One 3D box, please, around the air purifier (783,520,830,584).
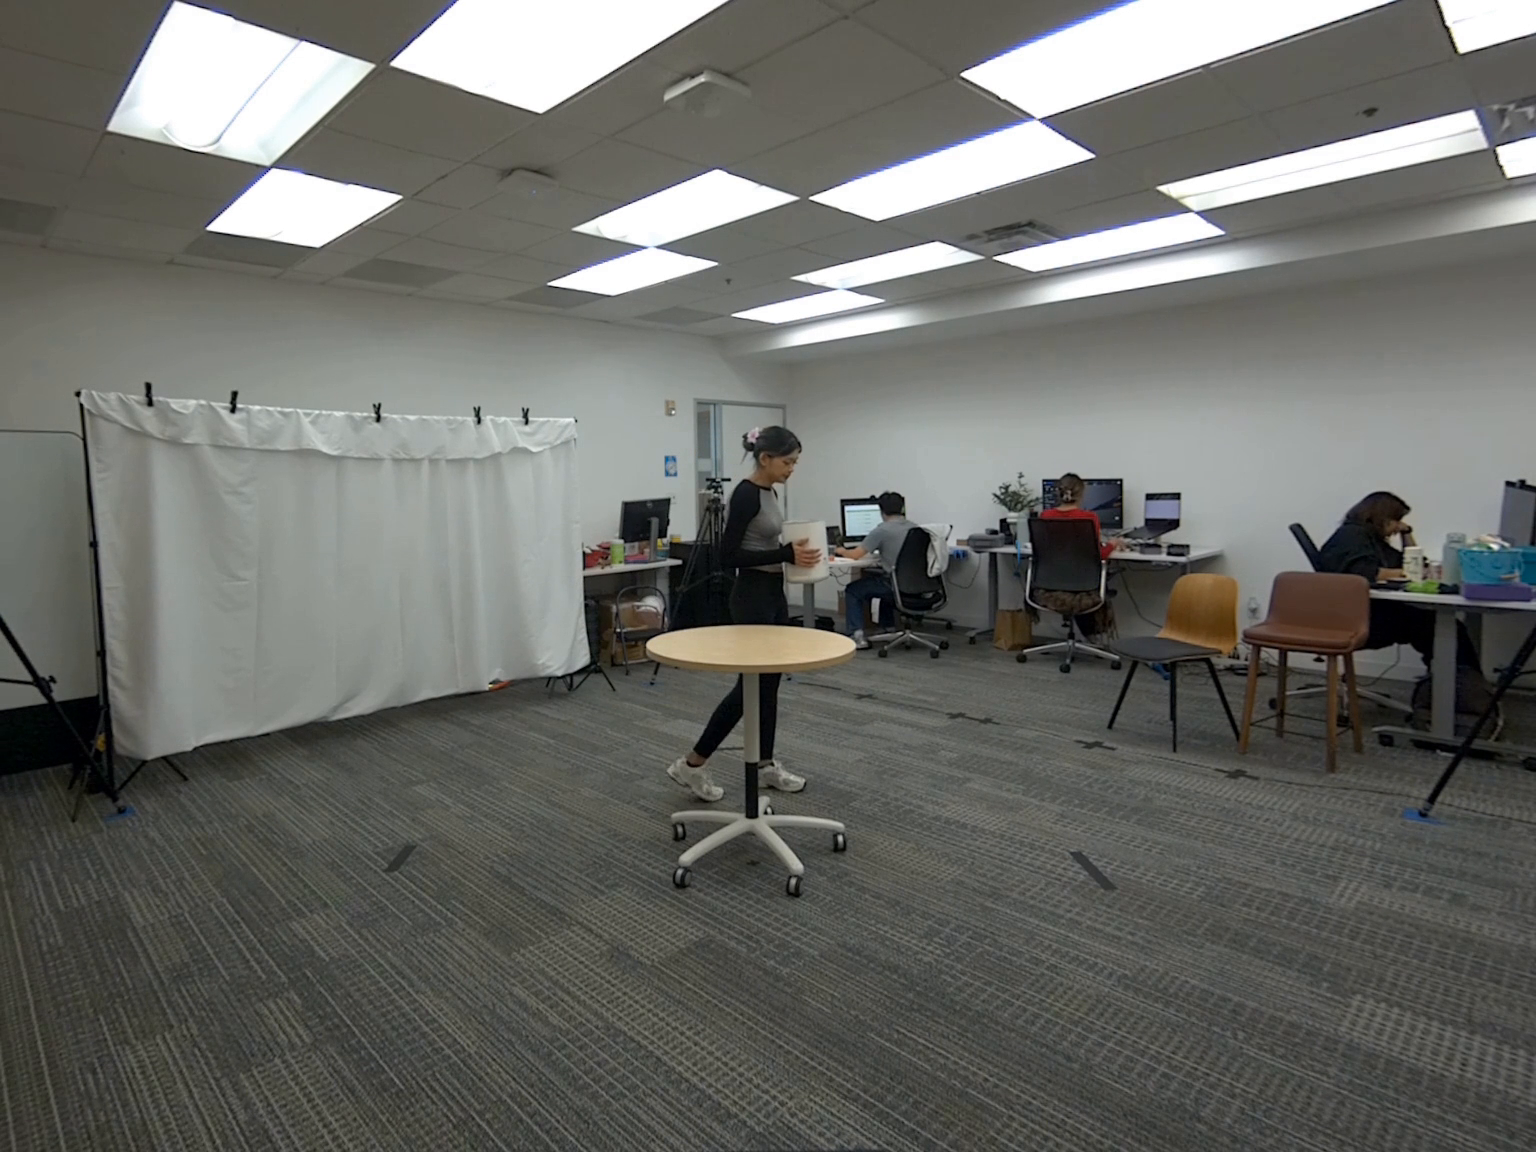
[{"bbox_3d":[0.161,-0.108,3.695,0.174,0.265,0.169,-5,3,17],"label":"air purifier"}]
